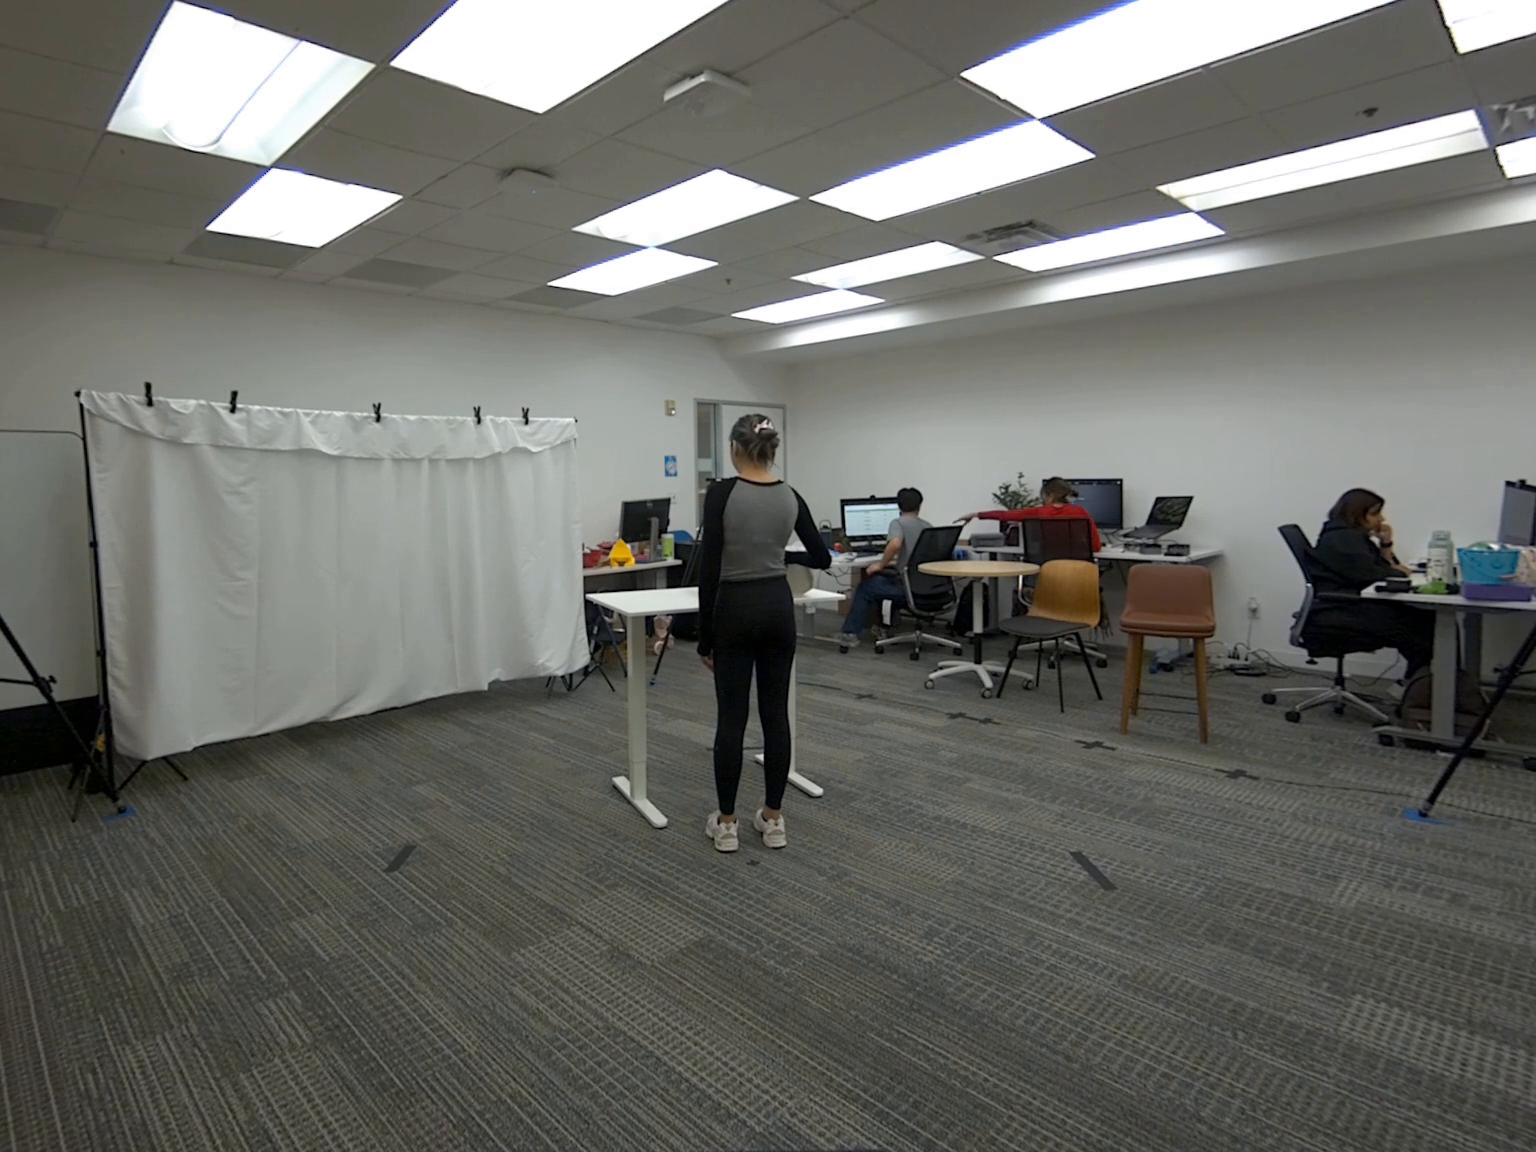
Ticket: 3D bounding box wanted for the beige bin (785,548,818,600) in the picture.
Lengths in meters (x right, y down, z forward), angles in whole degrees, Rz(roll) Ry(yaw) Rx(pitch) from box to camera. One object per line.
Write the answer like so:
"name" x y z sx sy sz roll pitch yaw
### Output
"beige bin" -0.039 -0.010 3.842 0.372 0.188 0.430 -4 7 -16
